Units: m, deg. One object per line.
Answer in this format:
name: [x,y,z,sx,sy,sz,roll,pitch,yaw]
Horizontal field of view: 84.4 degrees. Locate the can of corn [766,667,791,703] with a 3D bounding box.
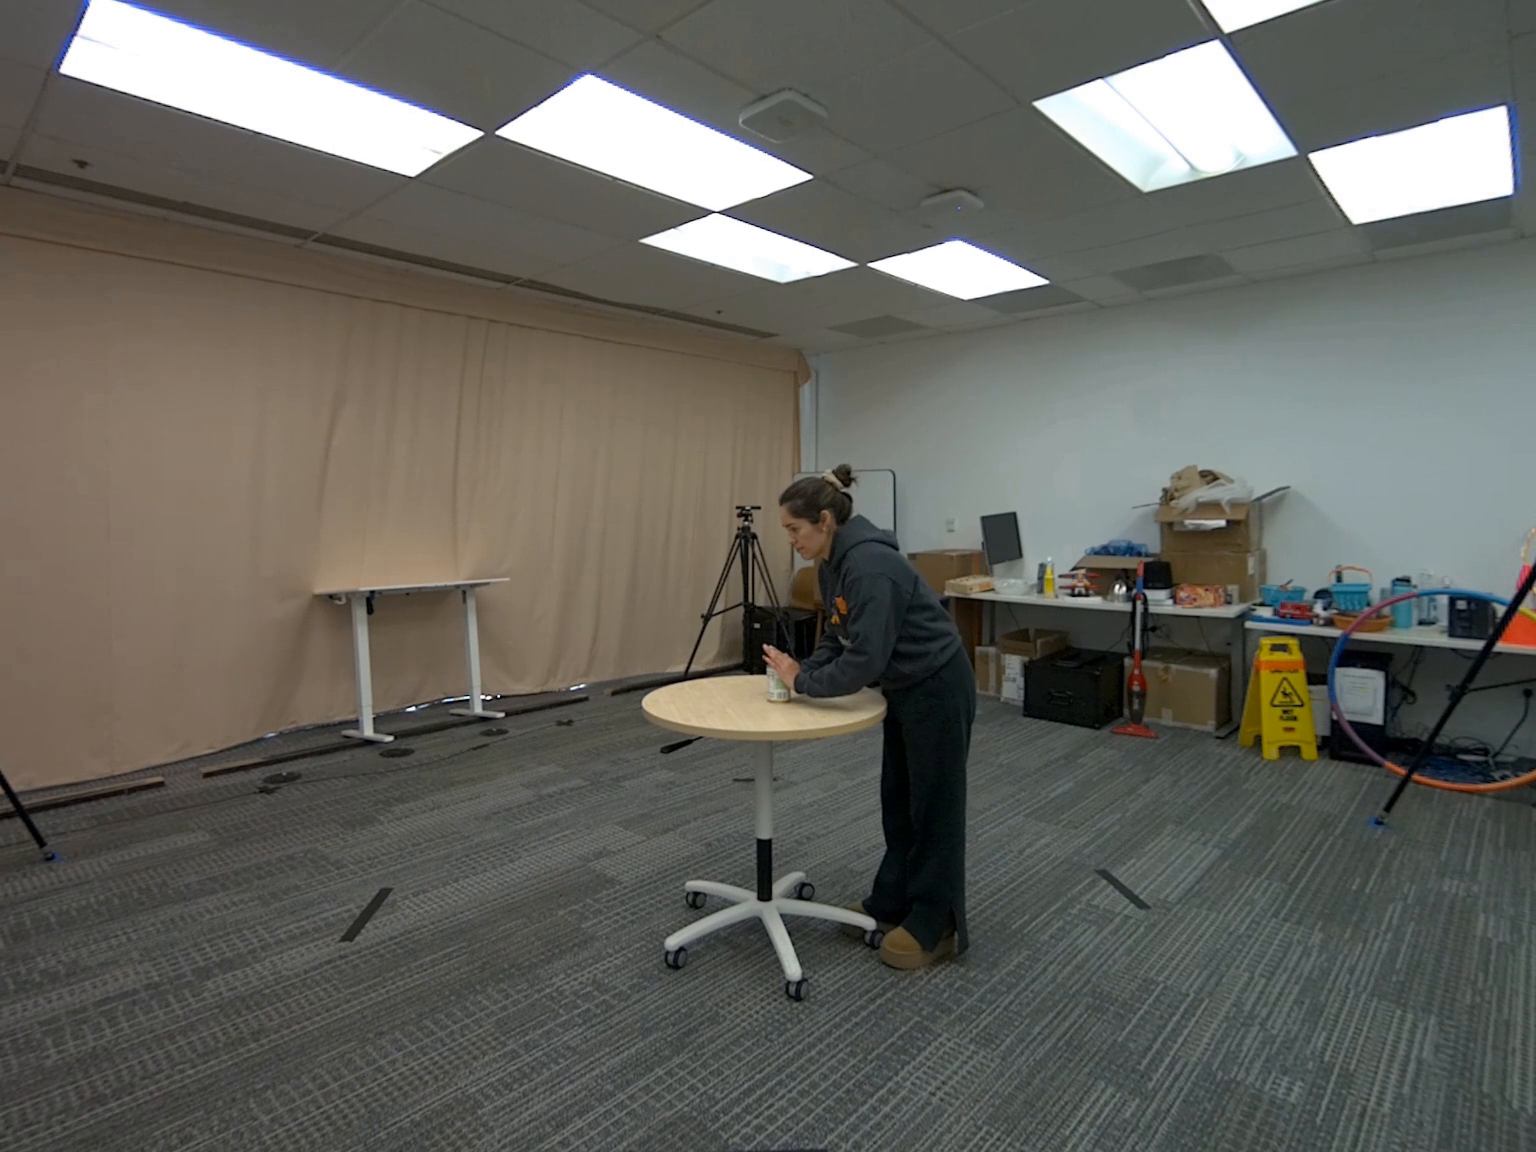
can of corn: [0.055,0.333,2.626,0.074,0.110,0.075,-1,8,-2]
